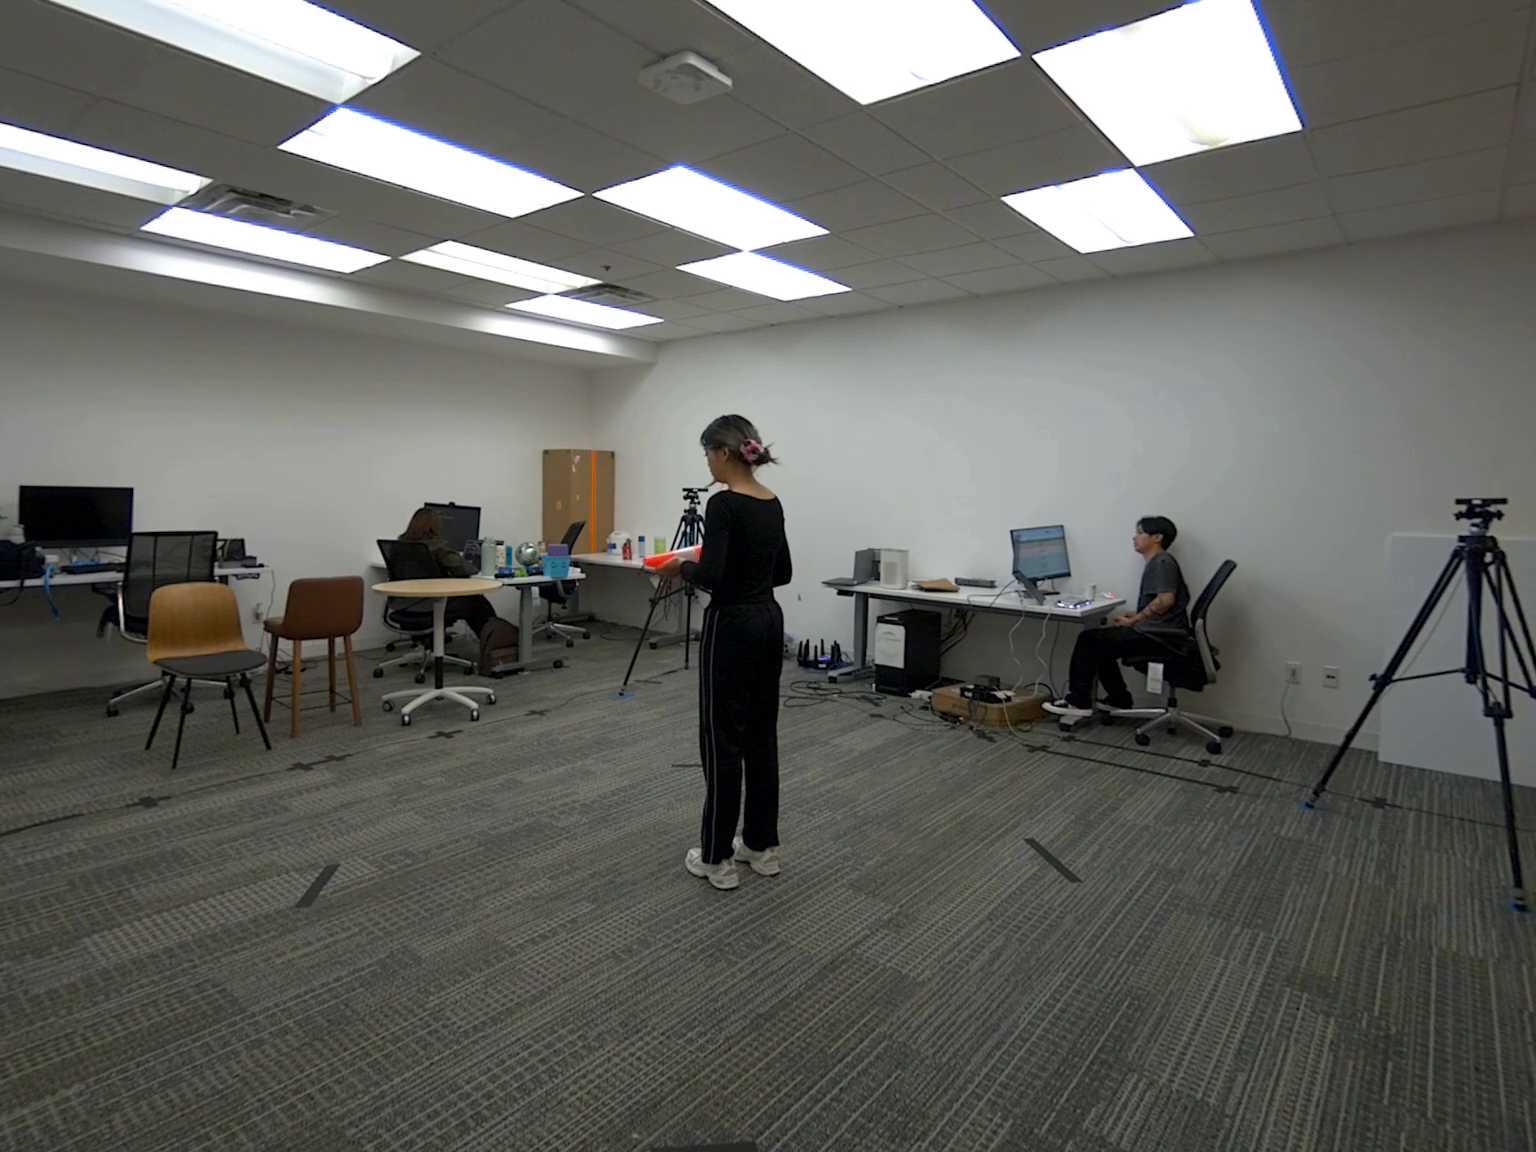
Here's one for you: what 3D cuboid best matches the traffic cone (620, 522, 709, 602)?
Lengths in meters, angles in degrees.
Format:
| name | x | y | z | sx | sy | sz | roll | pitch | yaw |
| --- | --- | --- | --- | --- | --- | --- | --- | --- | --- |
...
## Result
| name | x | y | z | sx | sy | sz | roll | pitch | yaw |
| --- | --- | --- | --- | --- | --- | --- | --- | --- | --- |
| traffic cone | -0.312 | -0.059 | 3.128 | 0.372 | 0.209 | 0.205 | -3 | -31 | -46 |
